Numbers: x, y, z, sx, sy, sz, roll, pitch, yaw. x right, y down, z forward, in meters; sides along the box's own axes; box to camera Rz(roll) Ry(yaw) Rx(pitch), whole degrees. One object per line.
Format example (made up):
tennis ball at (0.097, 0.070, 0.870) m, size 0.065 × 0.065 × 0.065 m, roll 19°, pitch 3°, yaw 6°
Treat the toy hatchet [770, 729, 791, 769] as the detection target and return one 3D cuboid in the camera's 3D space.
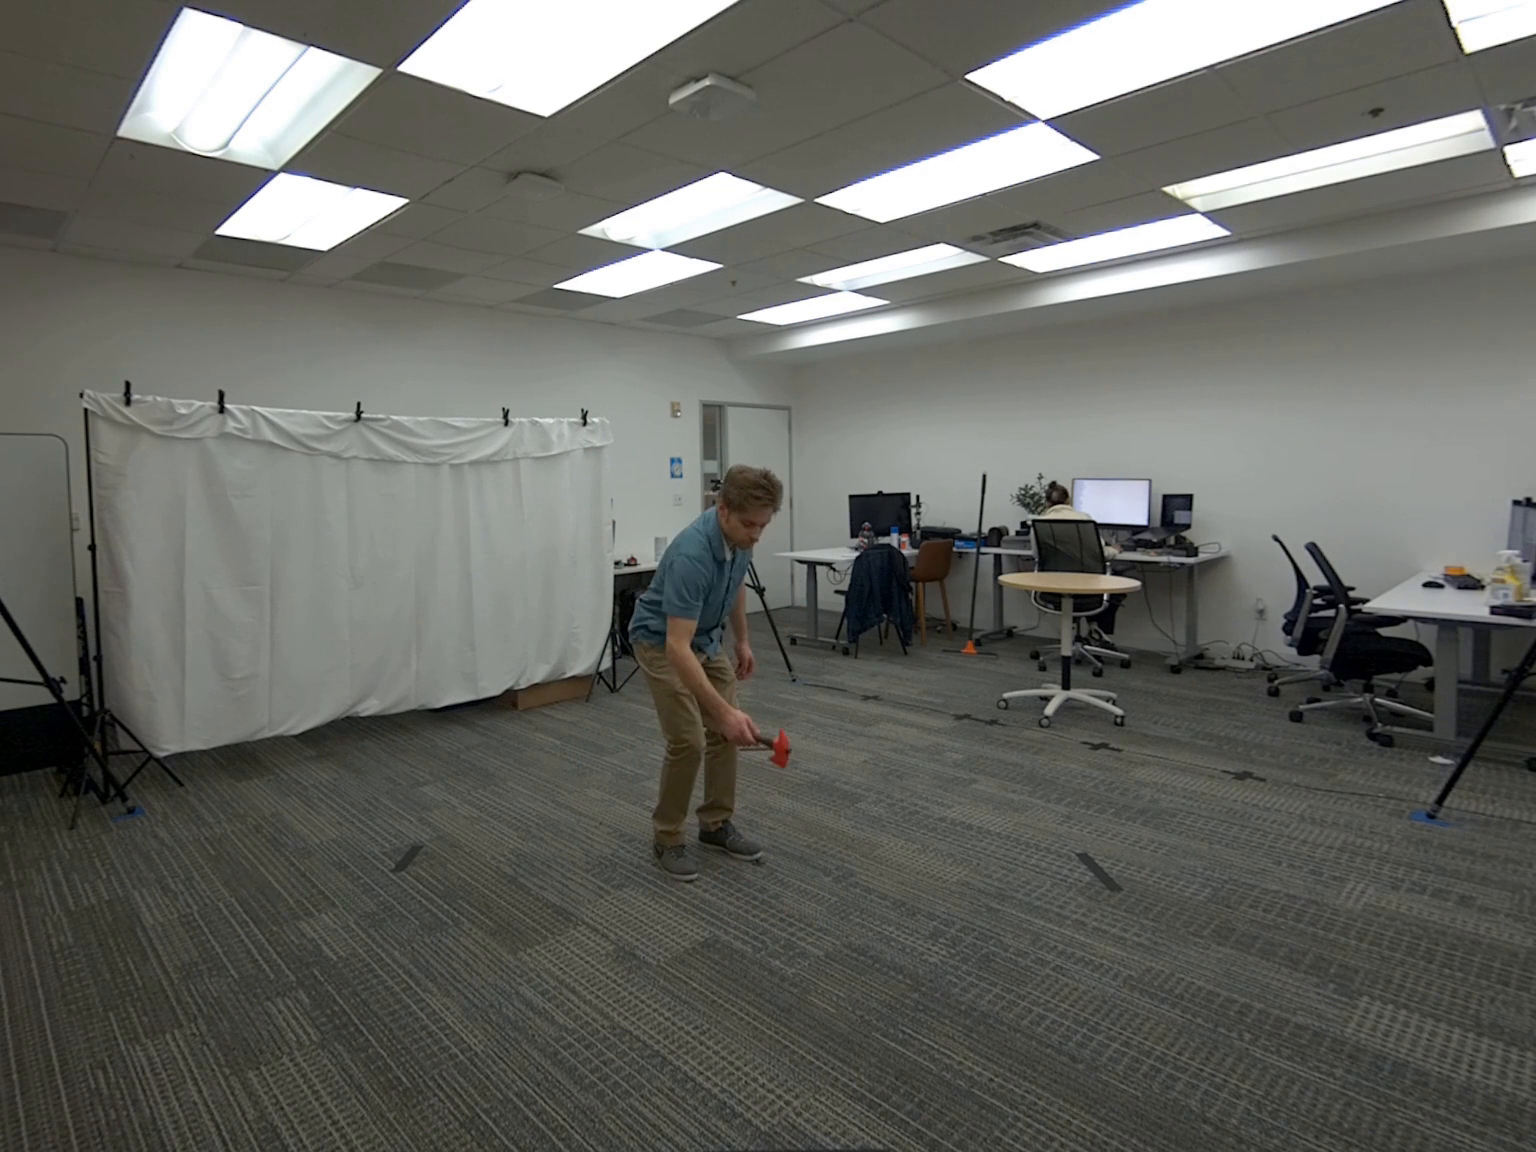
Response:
toy hatchet at (-0.033, 0.556, 2.685) m, size 0.275 × 0.131 × 0.029 m, roll -19°, pitch 3°, yaw 41°
